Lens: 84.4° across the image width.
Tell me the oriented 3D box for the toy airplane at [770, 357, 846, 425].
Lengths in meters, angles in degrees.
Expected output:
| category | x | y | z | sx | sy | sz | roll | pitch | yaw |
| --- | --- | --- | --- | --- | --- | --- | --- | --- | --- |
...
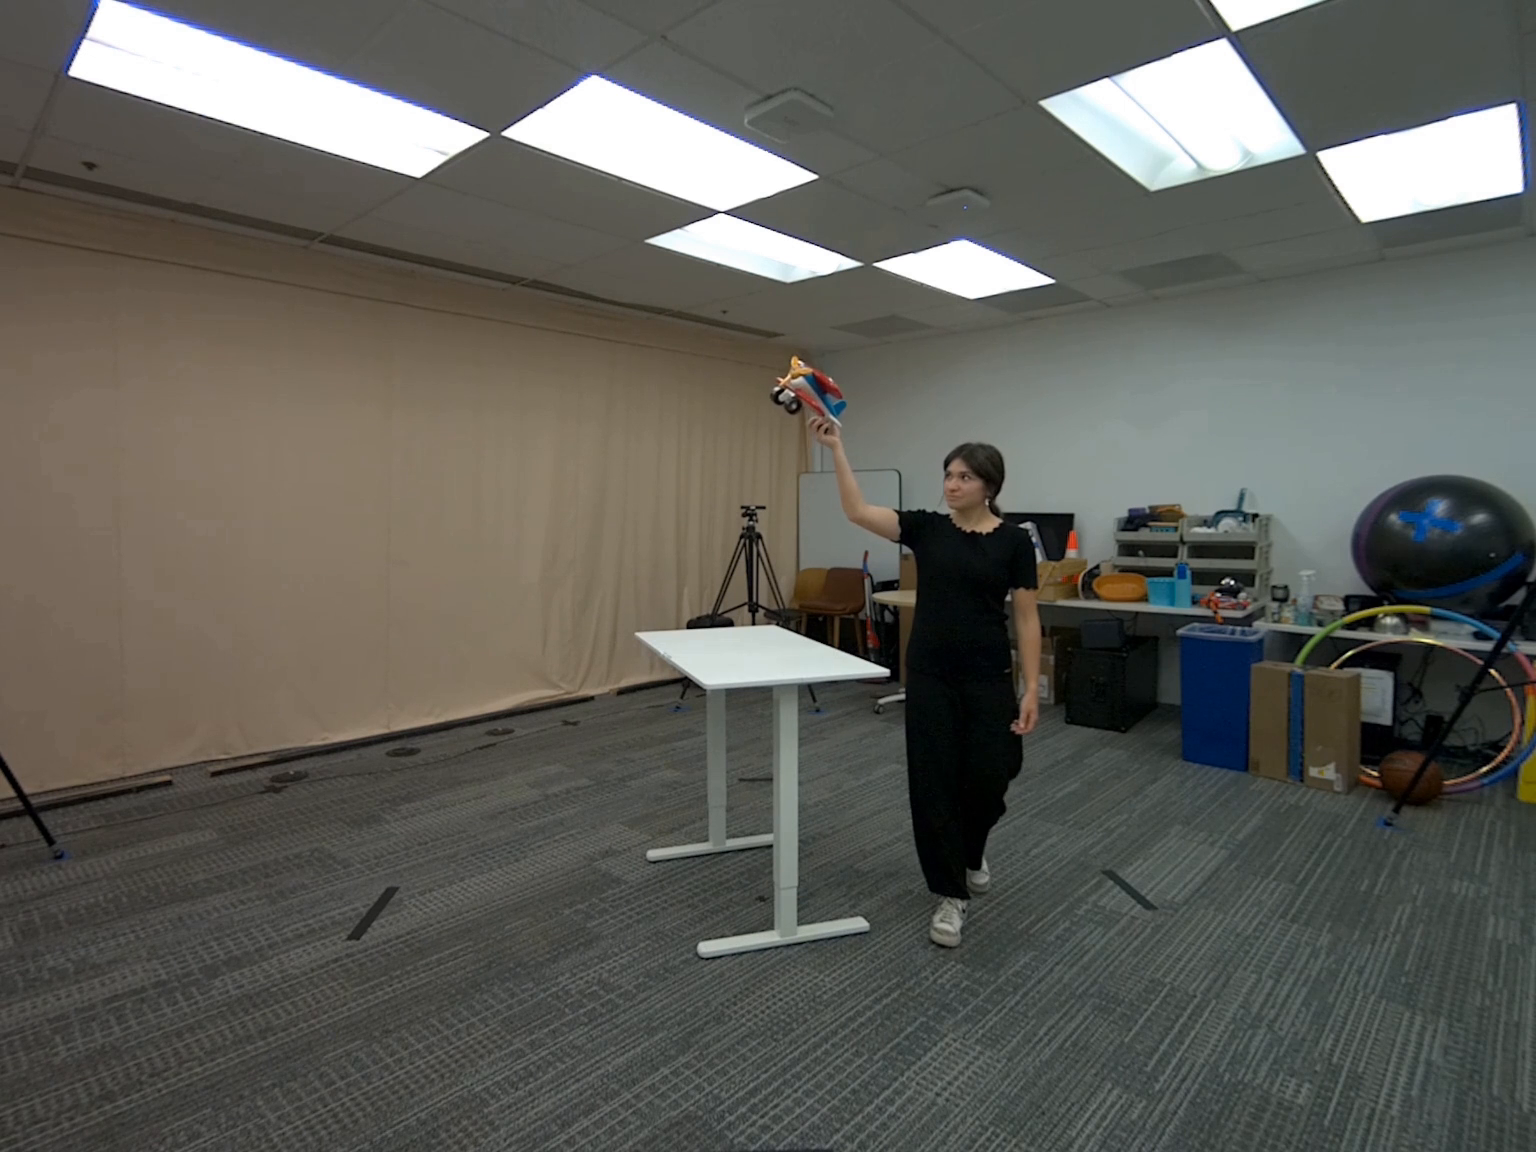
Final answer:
| category | x | y | z | sx | sy | sz | roll | pitch | yaw |
| --- | --- | --- | --- | --- | --- | --- | --- | --- | --- |
| toy airplane | 0.136 | -0.570 | 2.686 | 0.257 | 0.156 | 0.252 | 39 | 14 | 21 |
